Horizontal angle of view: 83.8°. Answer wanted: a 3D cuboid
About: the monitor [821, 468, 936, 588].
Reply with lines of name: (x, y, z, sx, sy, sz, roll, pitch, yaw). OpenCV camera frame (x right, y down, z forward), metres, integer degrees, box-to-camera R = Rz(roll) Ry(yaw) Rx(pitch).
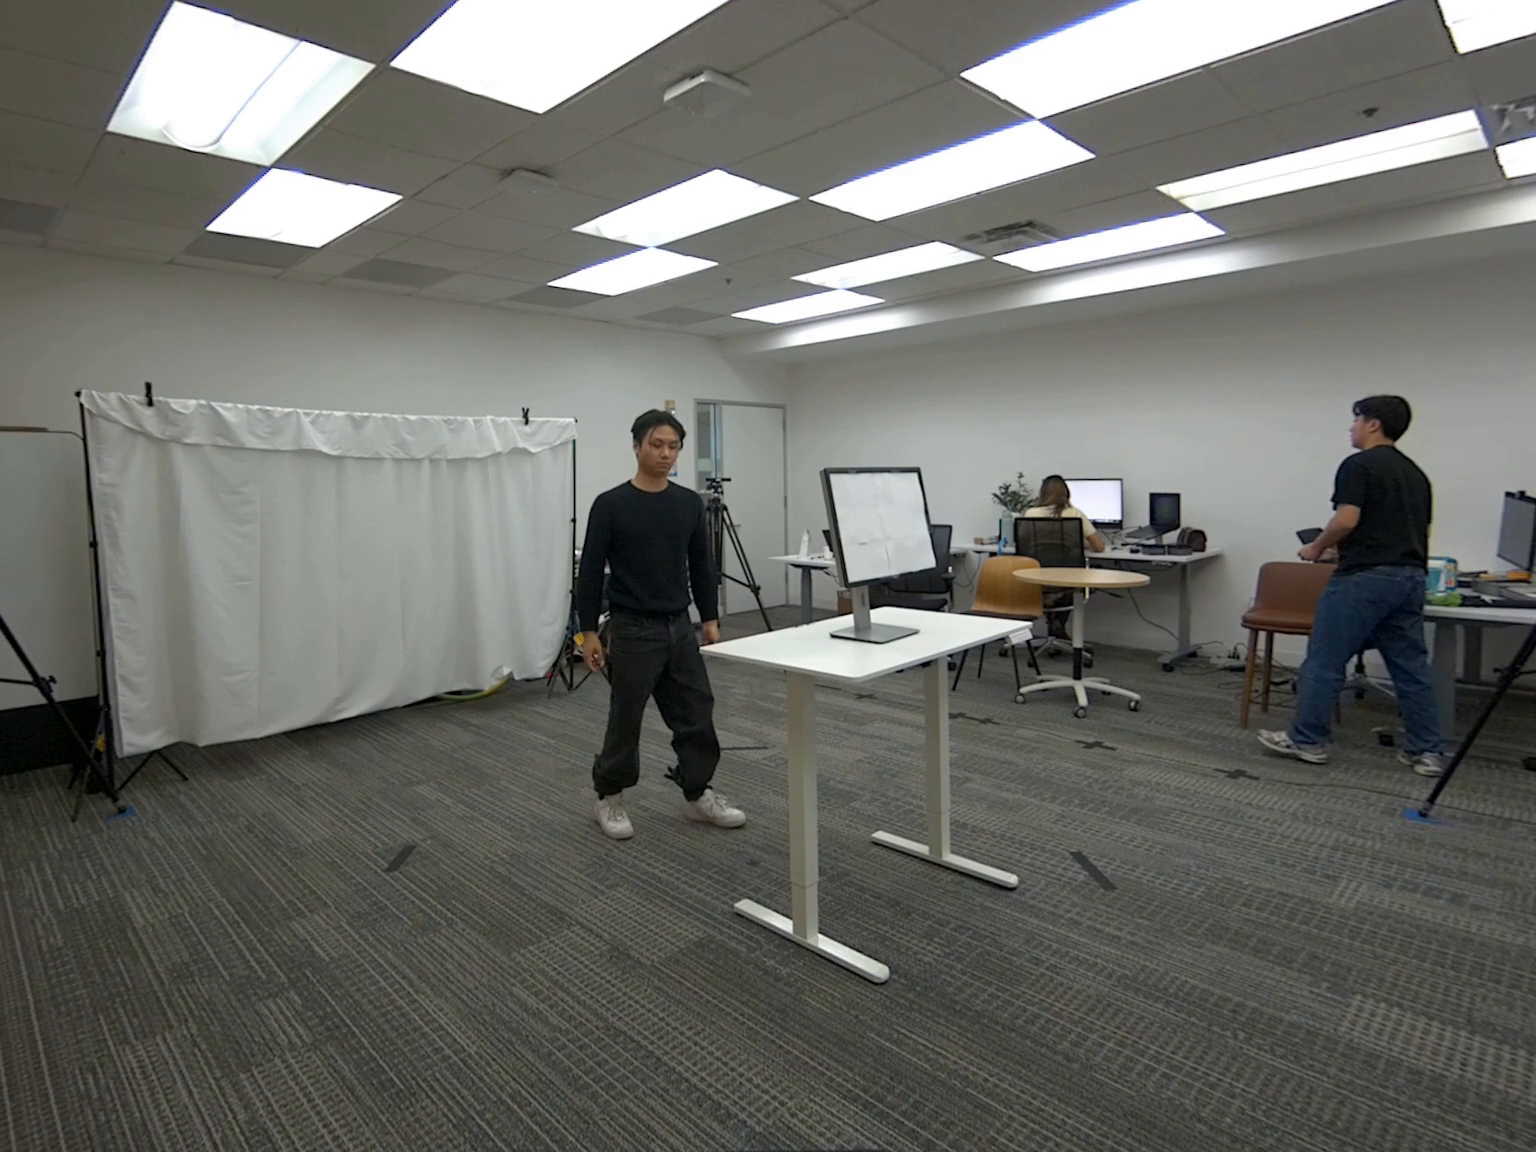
monitor: (0.345, -0.073, 2.755, 0.193, 0.520, 0.525, 4, 7, 38)
